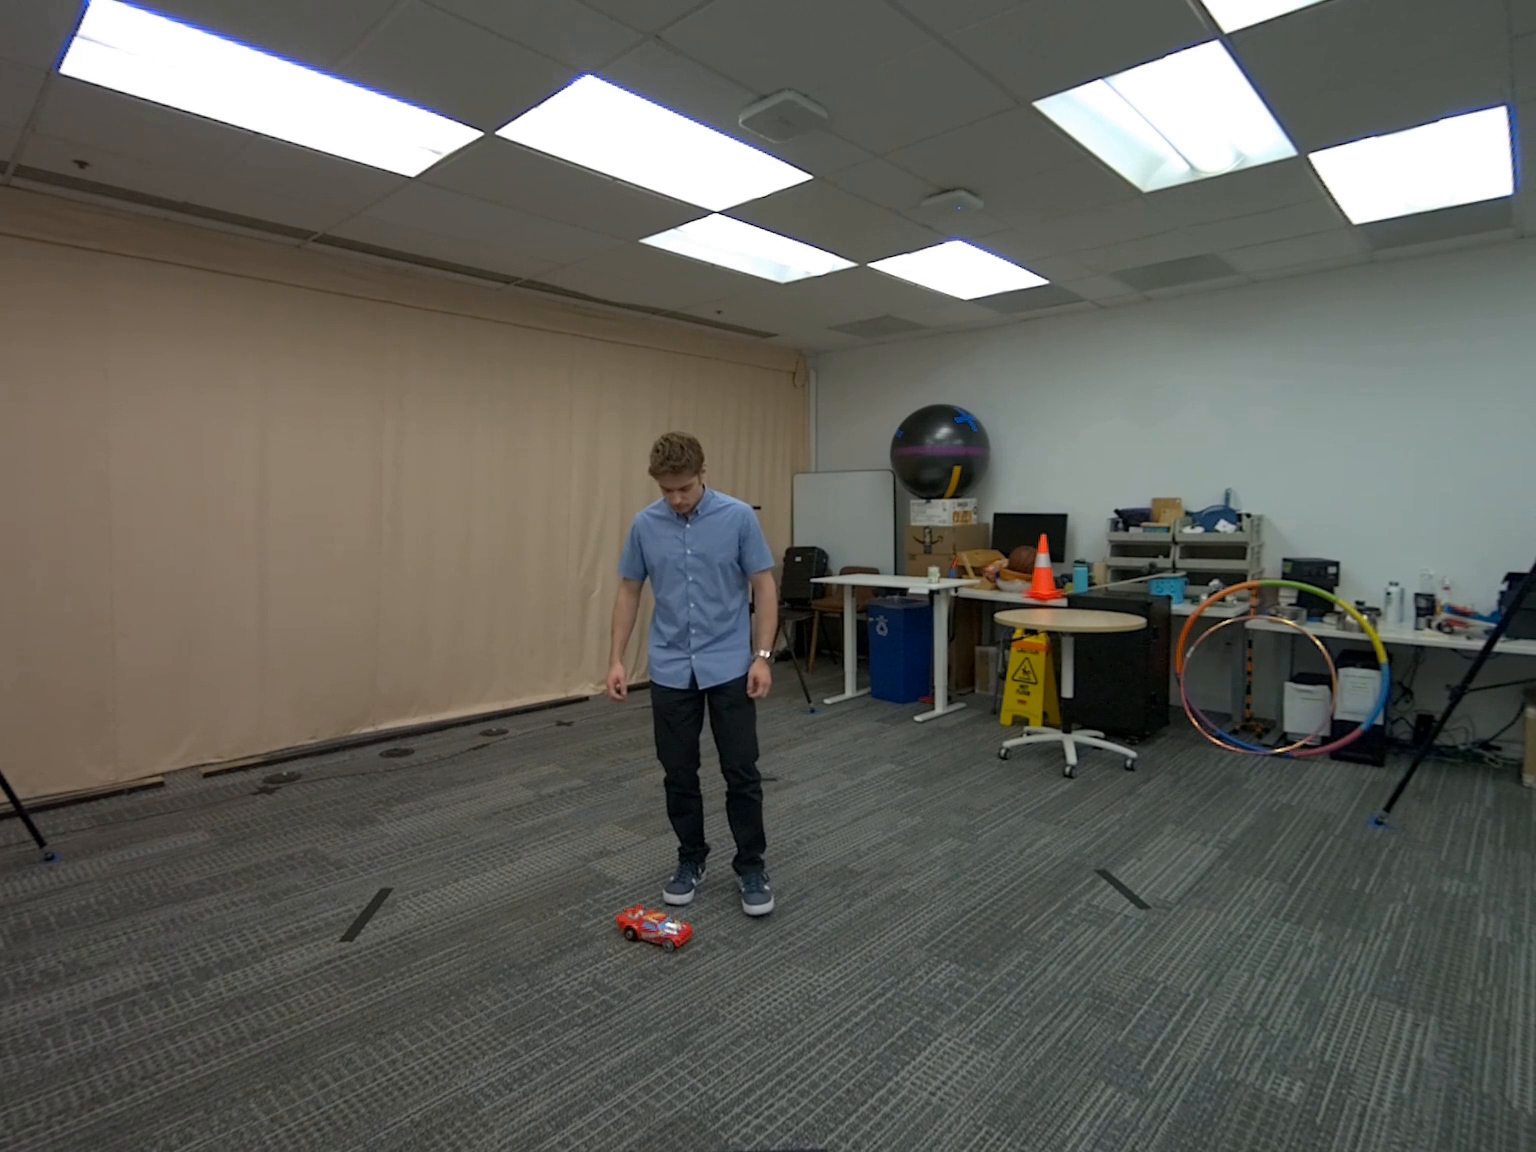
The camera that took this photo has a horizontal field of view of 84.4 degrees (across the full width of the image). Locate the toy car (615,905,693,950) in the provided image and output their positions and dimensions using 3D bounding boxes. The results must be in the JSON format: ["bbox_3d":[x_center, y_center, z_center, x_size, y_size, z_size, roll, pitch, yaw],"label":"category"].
[{"bbox_3d":[-0.376,1.140,2.714,0.262,0.083,0.127,15,12,29],"label":"toy car"}]
